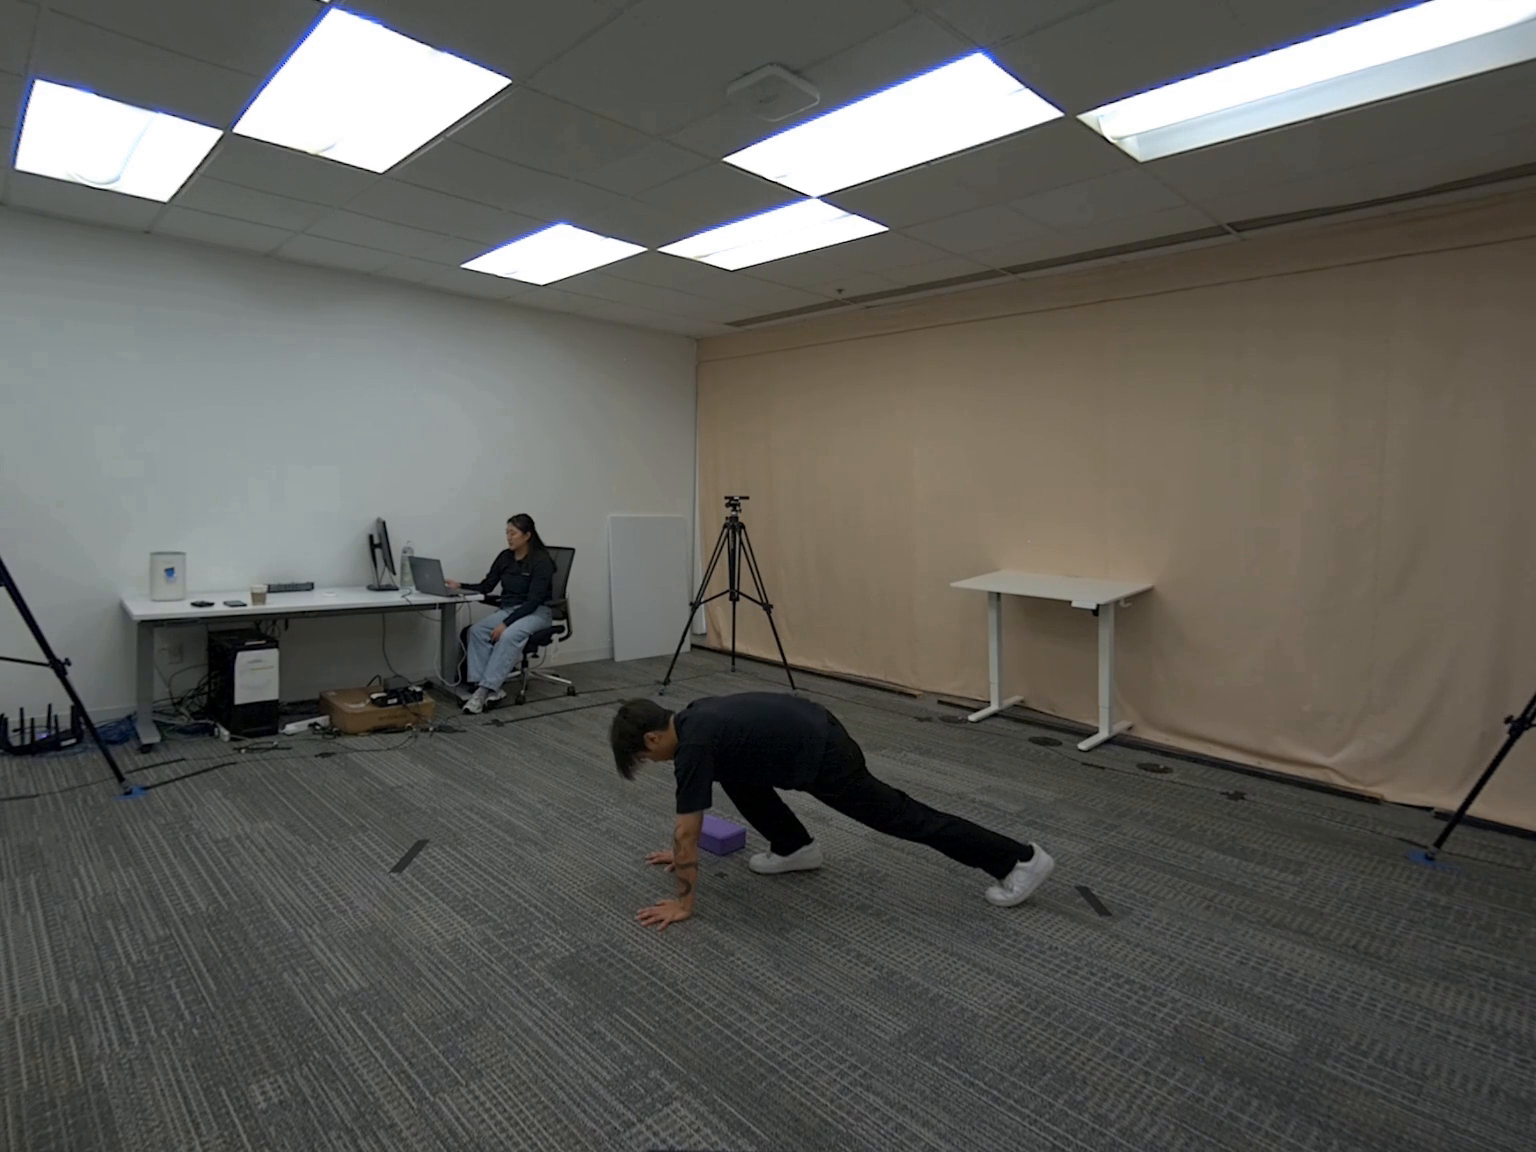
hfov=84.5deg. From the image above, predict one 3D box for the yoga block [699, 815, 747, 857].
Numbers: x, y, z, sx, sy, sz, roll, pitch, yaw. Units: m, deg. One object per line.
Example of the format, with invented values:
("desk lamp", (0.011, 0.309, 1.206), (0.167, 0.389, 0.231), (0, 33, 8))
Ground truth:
("yoga block", (-0.225, 1.036, 3.382), (0.235, 0.076, 0.145), (6, 6, 42))
